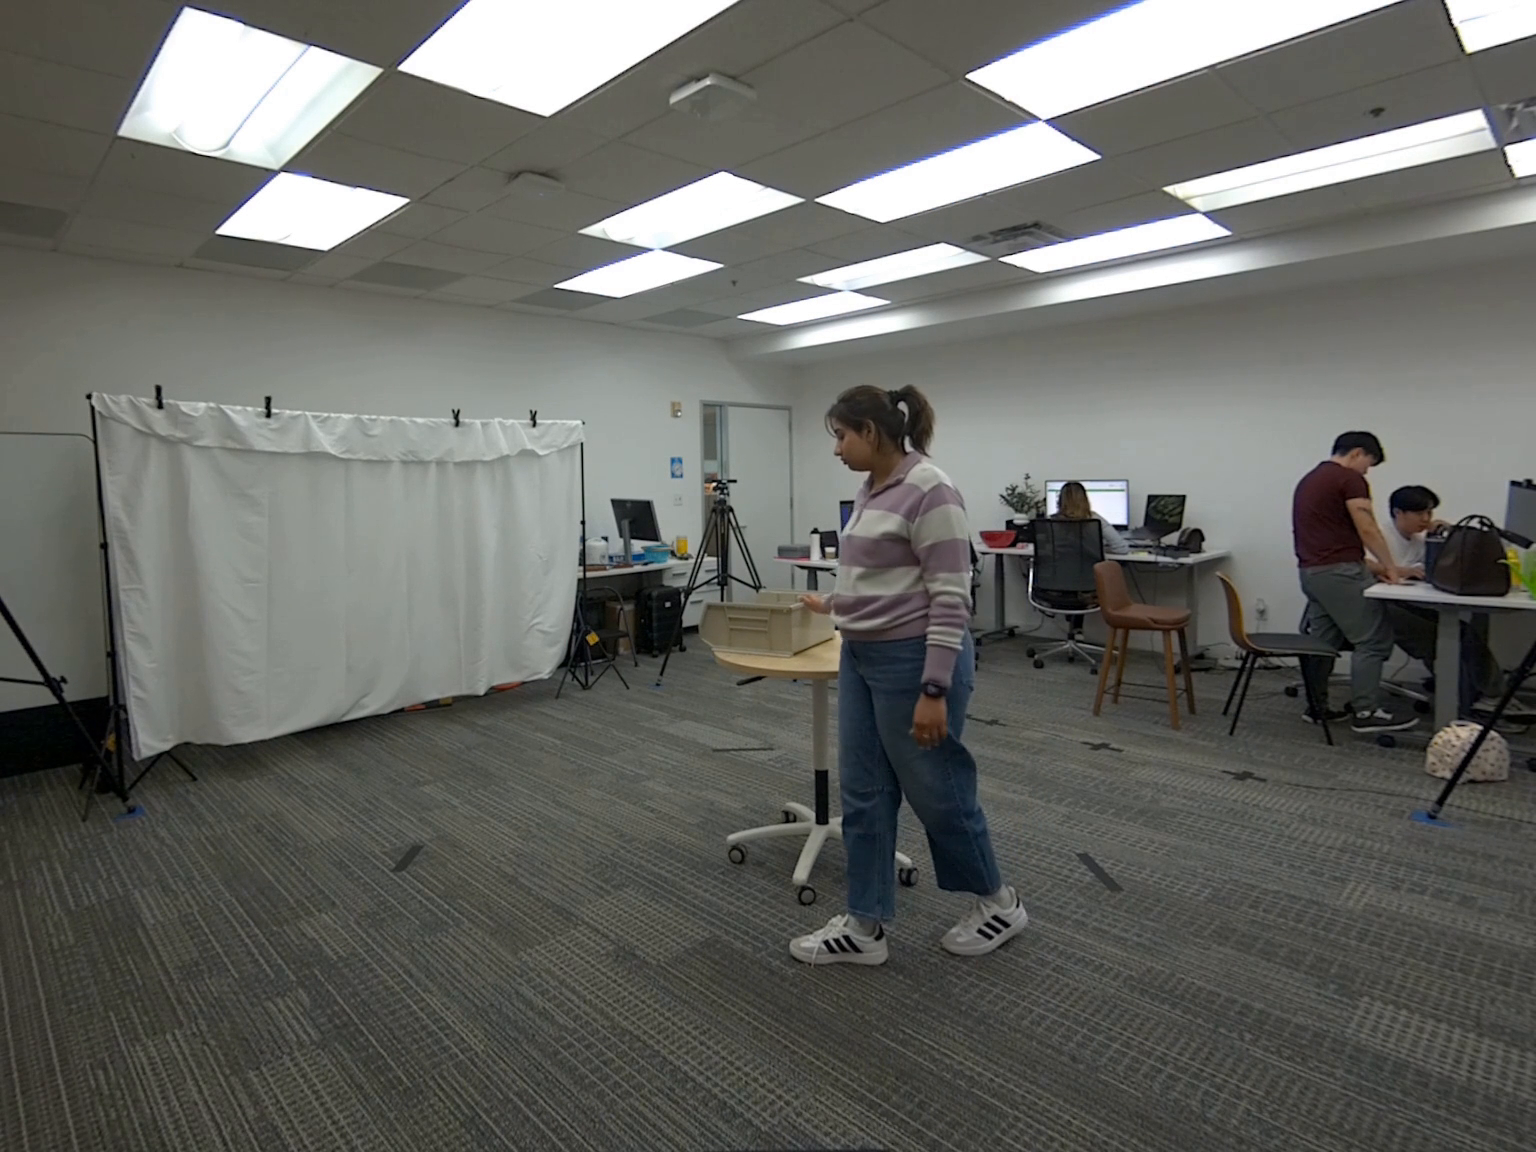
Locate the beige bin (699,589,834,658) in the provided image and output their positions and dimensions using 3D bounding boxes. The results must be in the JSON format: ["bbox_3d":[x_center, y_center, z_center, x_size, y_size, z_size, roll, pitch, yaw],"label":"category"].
[{"bbox_3d":[0.011,0.169,3.182,0.387,0.188,0.413,2,6,27],"label":"beige bin"}]
